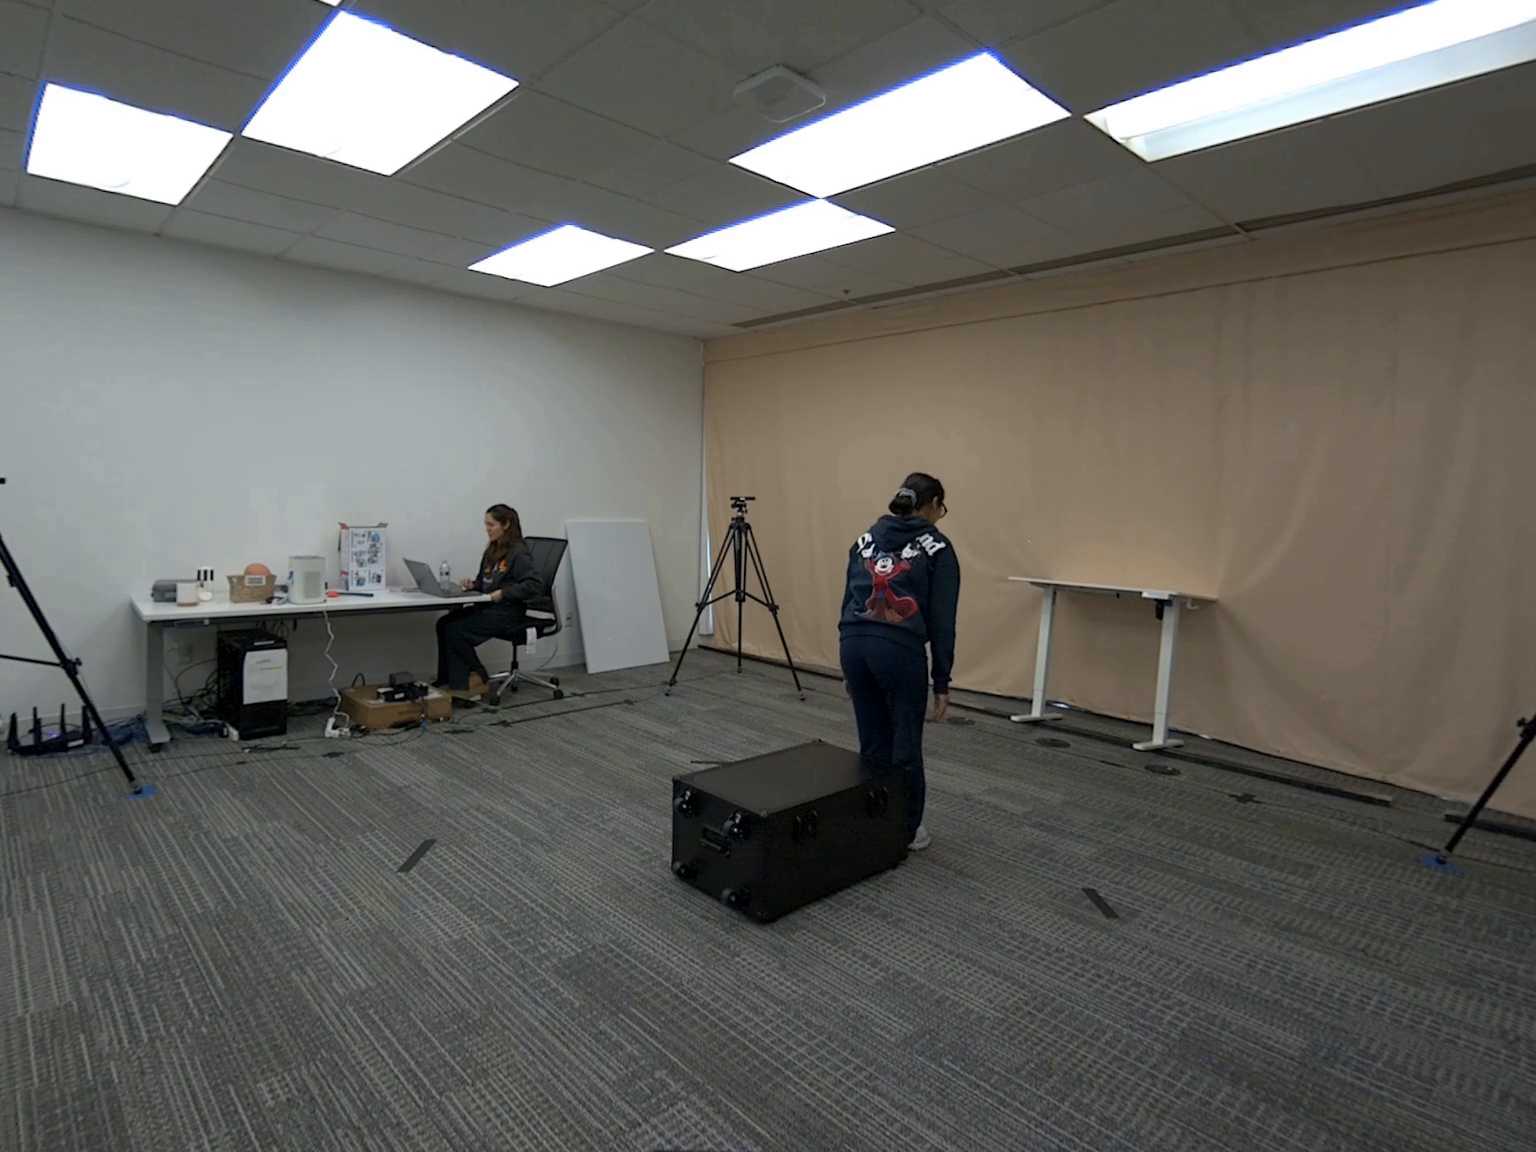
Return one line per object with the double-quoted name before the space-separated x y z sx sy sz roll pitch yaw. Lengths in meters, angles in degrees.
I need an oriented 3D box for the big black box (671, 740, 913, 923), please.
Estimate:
"big black box" 0.062 0.919 3.124 0.841 0.395 0.534 -2 5 -44
